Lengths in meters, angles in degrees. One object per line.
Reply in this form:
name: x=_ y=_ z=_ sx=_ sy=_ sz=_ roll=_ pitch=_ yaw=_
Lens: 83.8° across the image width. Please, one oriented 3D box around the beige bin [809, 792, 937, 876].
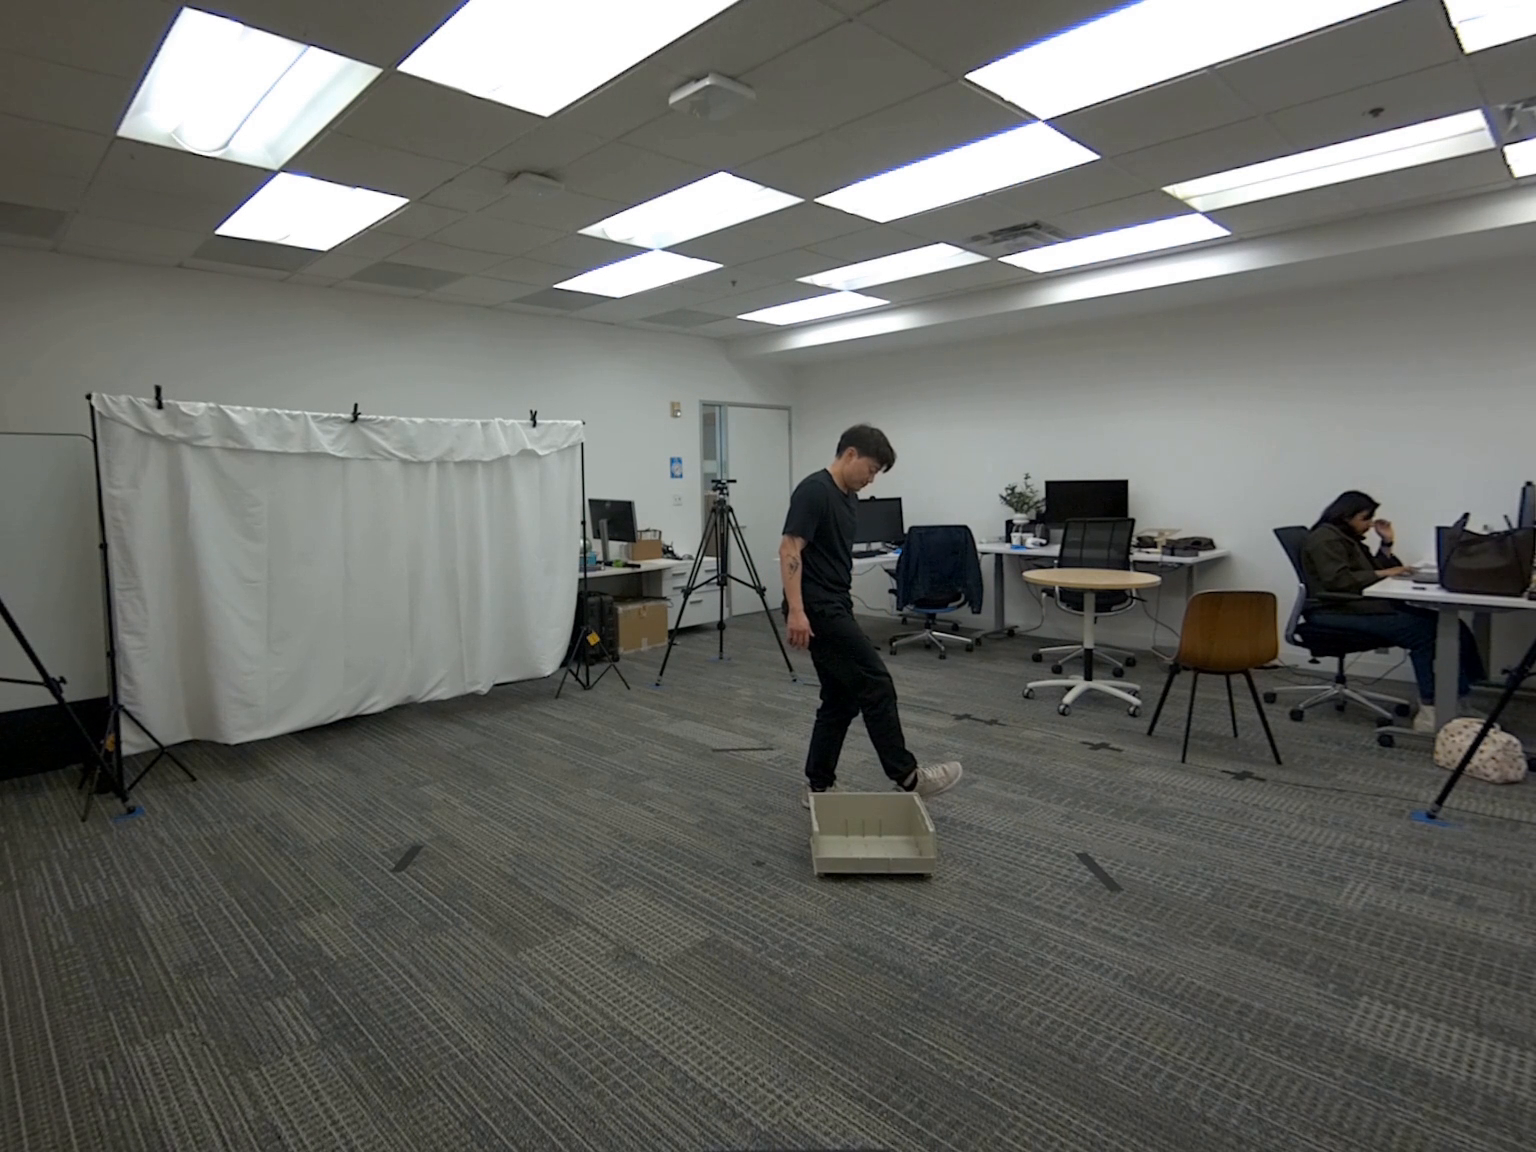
beige bin: x=0.375 y=0.958 z=3.120 sx=0.423 sy=0.188 sz=0.378 roll=-2 pitch=6 yaw=1
